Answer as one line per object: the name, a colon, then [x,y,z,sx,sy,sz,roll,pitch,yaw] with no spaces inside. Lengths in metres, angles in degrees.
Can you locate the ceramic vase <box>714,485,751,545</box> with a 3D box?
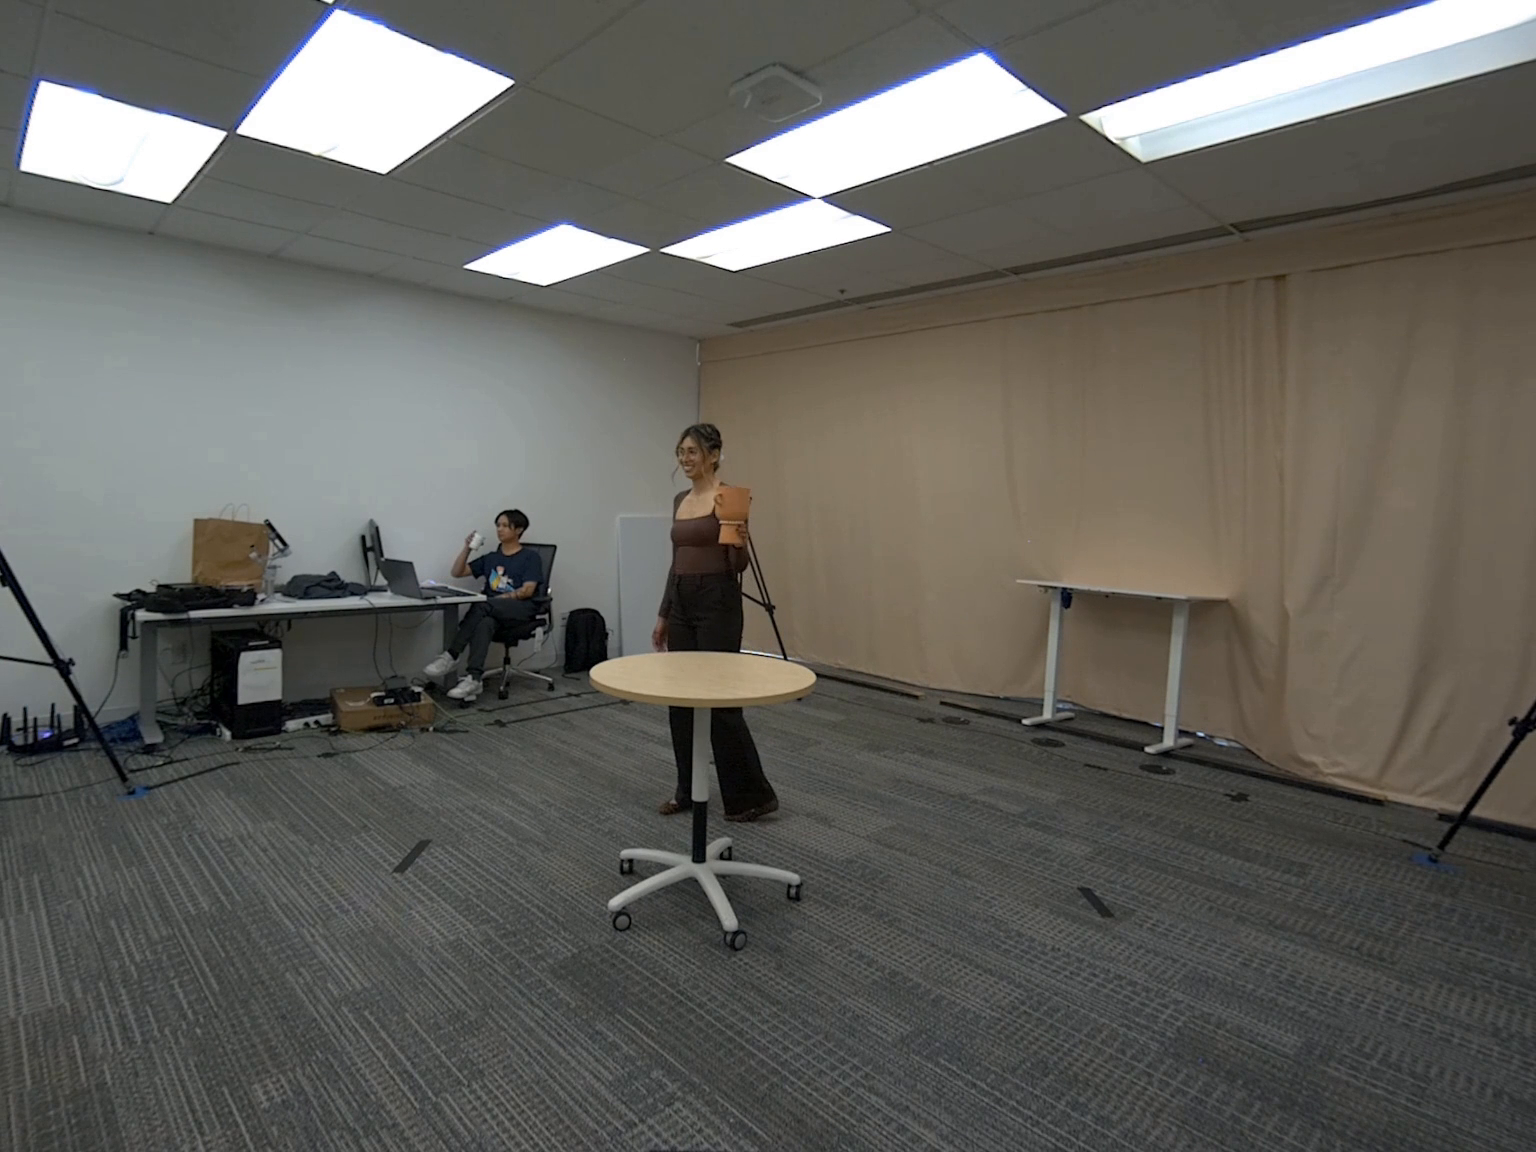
ceramic vase: [-0.156,-0.238,3.293,0.157,0.220,0.135,2,-1,-11]
